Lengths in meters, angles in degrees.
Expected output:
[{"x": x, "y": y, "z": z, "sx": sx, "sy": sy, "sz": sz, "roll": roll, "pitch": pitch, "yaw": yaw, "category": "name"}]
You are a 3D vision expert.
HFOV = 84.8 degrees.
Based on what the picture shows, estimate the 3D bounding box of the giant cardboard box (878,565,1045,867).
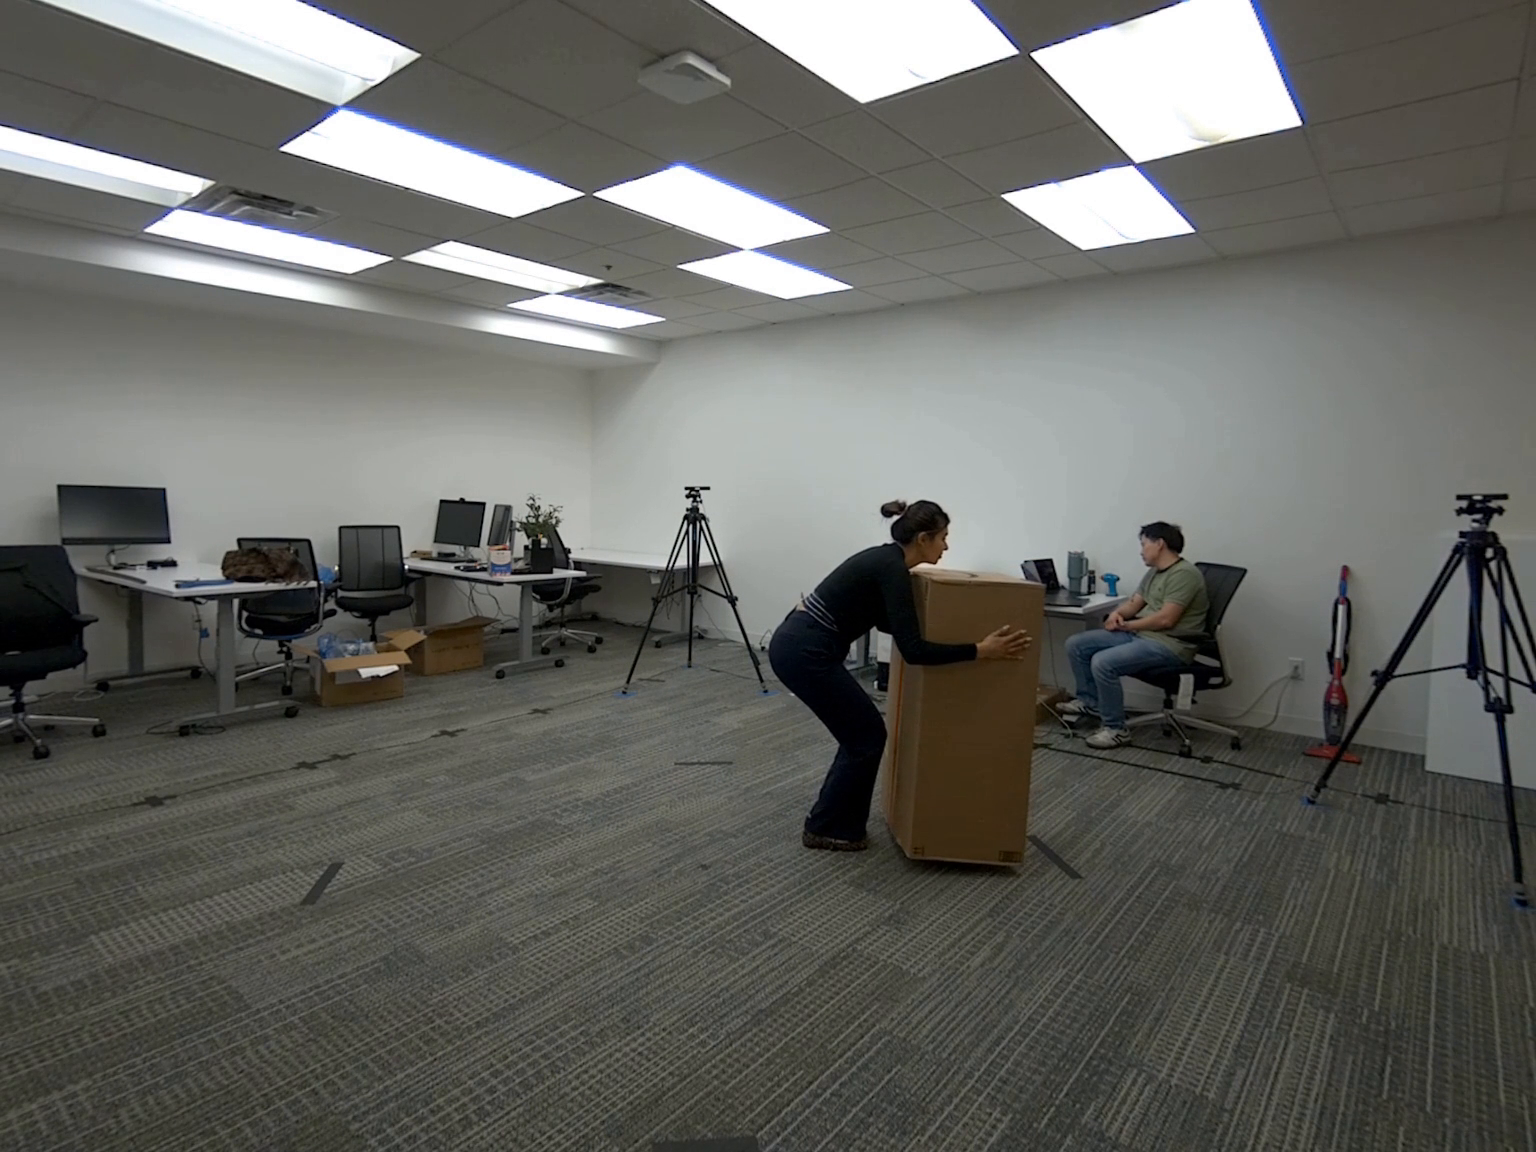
[{"x": 0.728, "y": 0.506, "z": 3.347, "sx": 0.425, "sy": 1.023, "sz": 0.581, "roll": 4, "pitch": 3, "yaw": -4, "category": "giant cardboard box"}]
